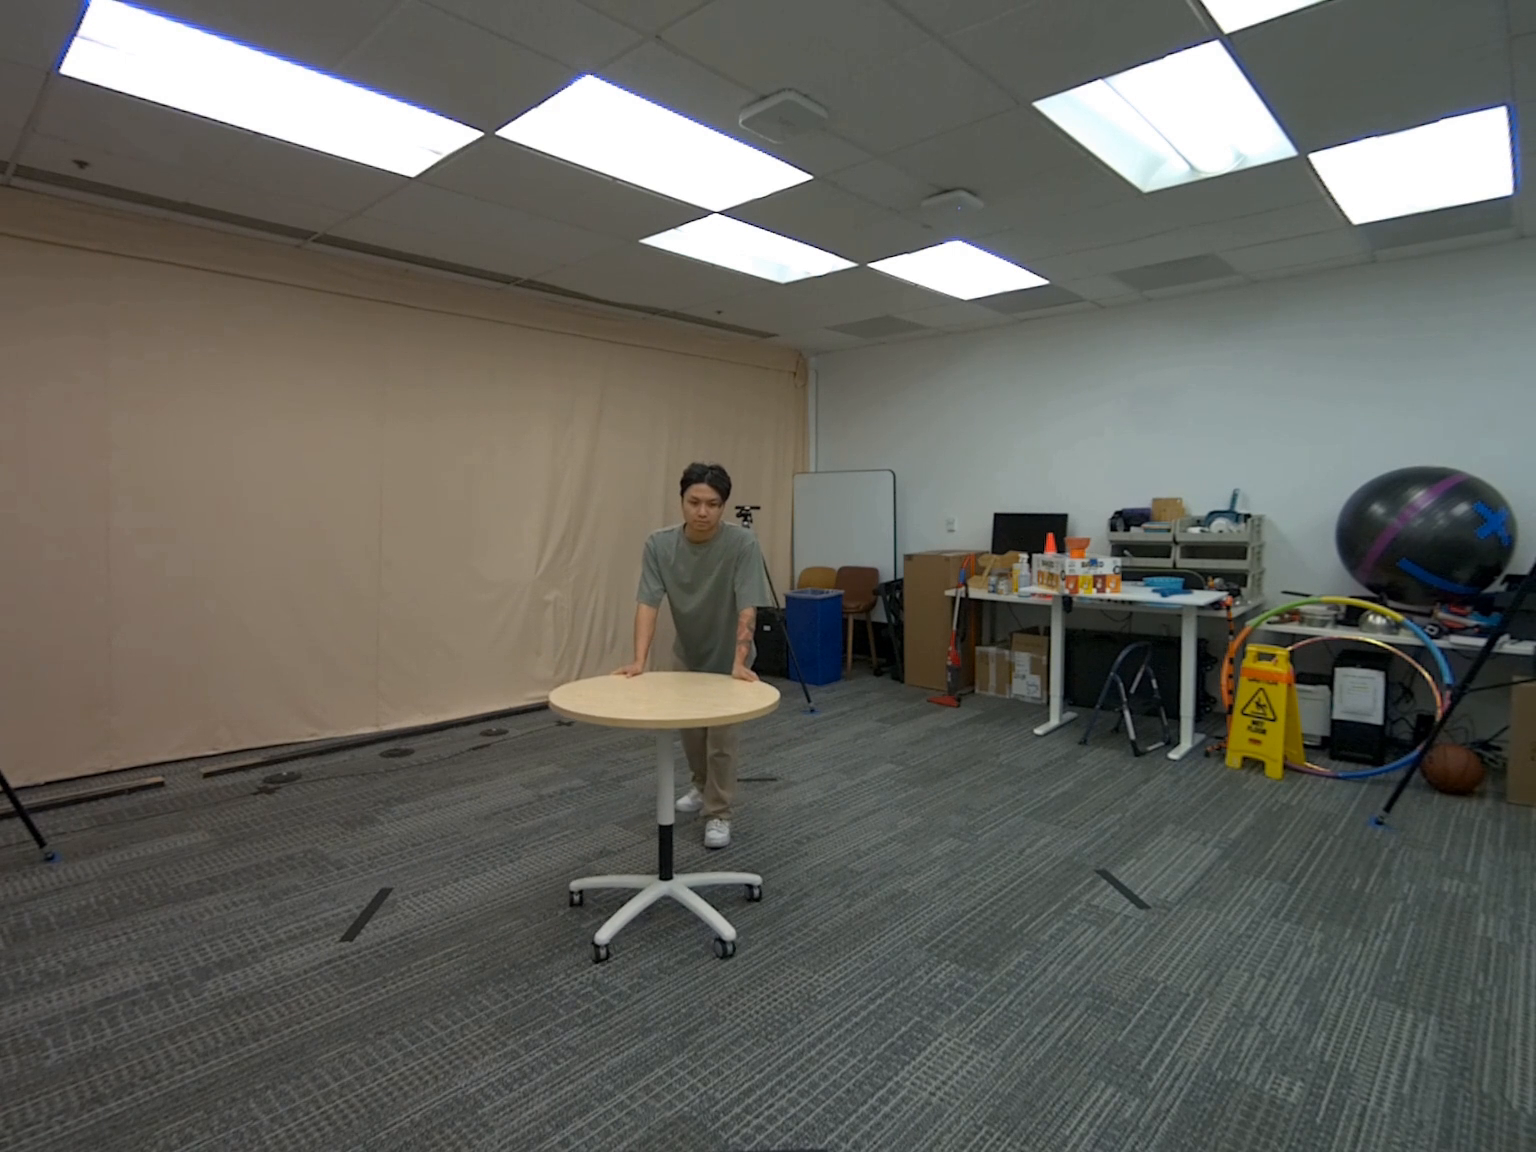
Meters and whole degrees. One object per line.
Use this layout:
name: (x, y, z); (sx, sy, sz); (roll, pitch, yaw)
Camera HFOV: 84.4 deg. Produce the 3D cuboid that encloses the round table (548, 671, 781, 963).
round table: (-0.357, 0.770, 2.824); (0.784, 0.785, 0.787); (0, 3, -2)
